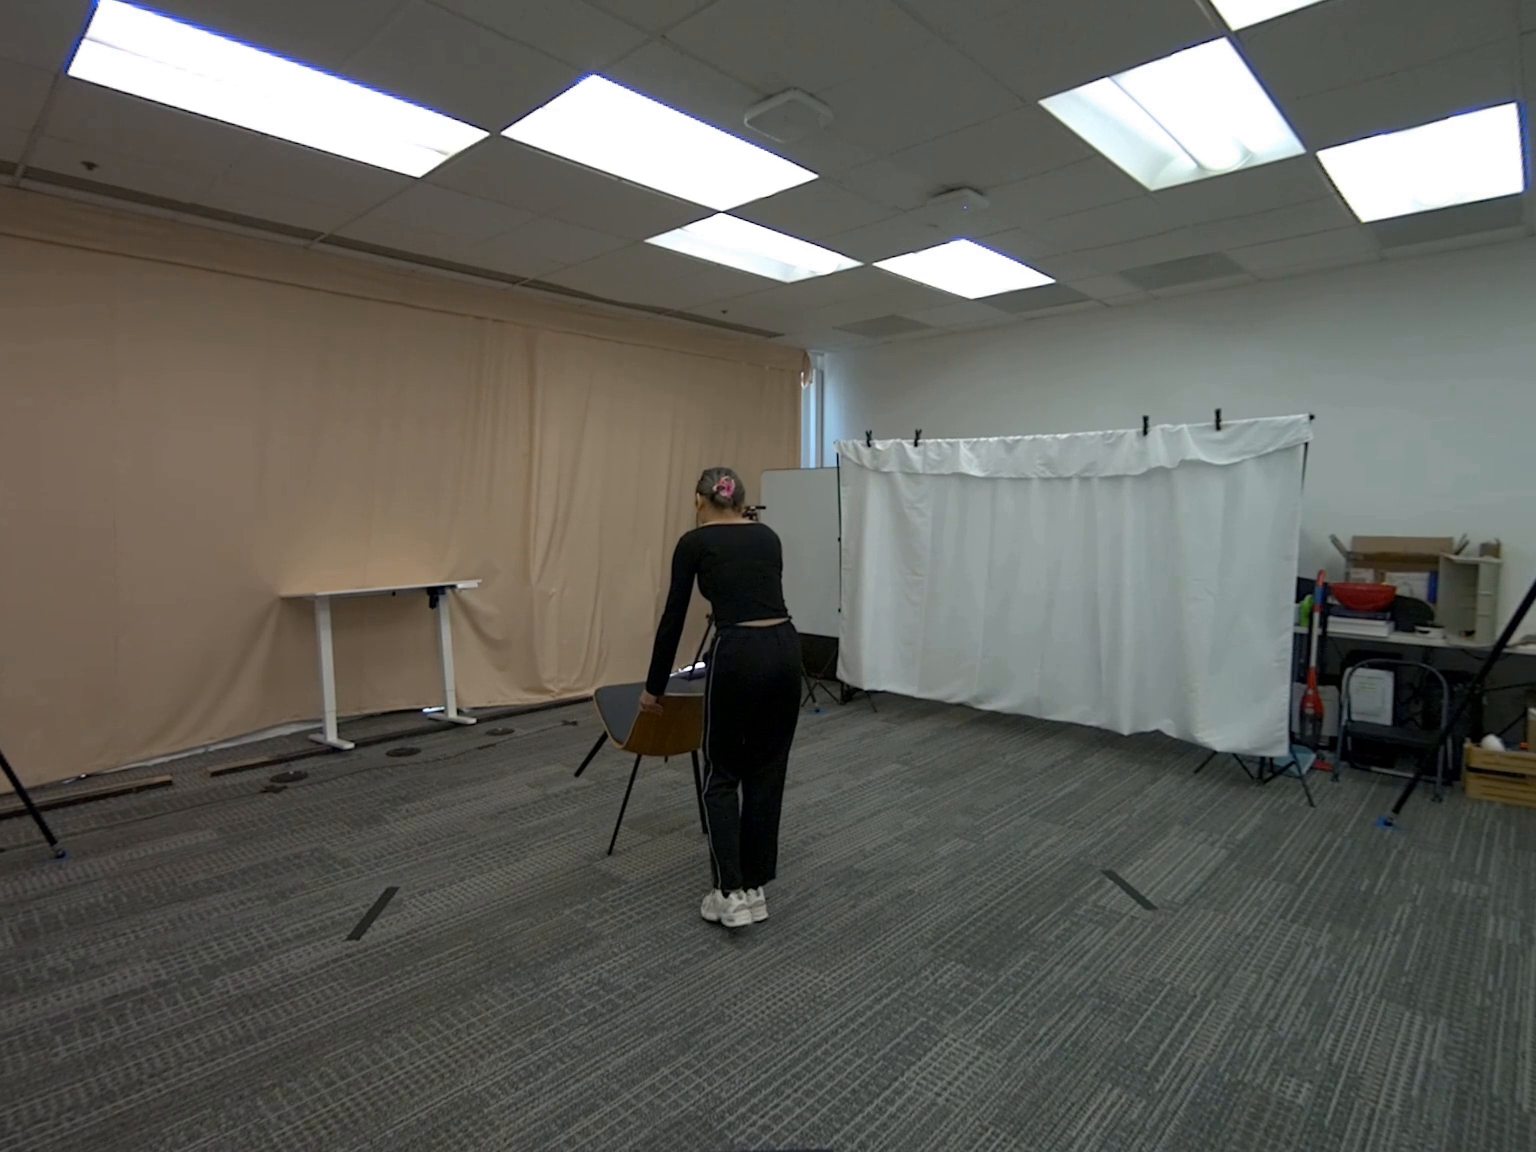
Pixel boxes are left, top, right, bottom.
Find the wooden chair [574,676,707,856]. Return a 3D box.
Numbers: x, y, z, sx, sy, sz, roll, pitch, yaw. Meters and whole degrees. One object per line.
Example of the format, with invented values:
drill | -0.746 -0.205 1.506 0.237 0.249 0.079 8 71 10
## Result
wooden chair | -0.452 0.622 3.443 0.465 0.871 0.541 -2 37 -30
